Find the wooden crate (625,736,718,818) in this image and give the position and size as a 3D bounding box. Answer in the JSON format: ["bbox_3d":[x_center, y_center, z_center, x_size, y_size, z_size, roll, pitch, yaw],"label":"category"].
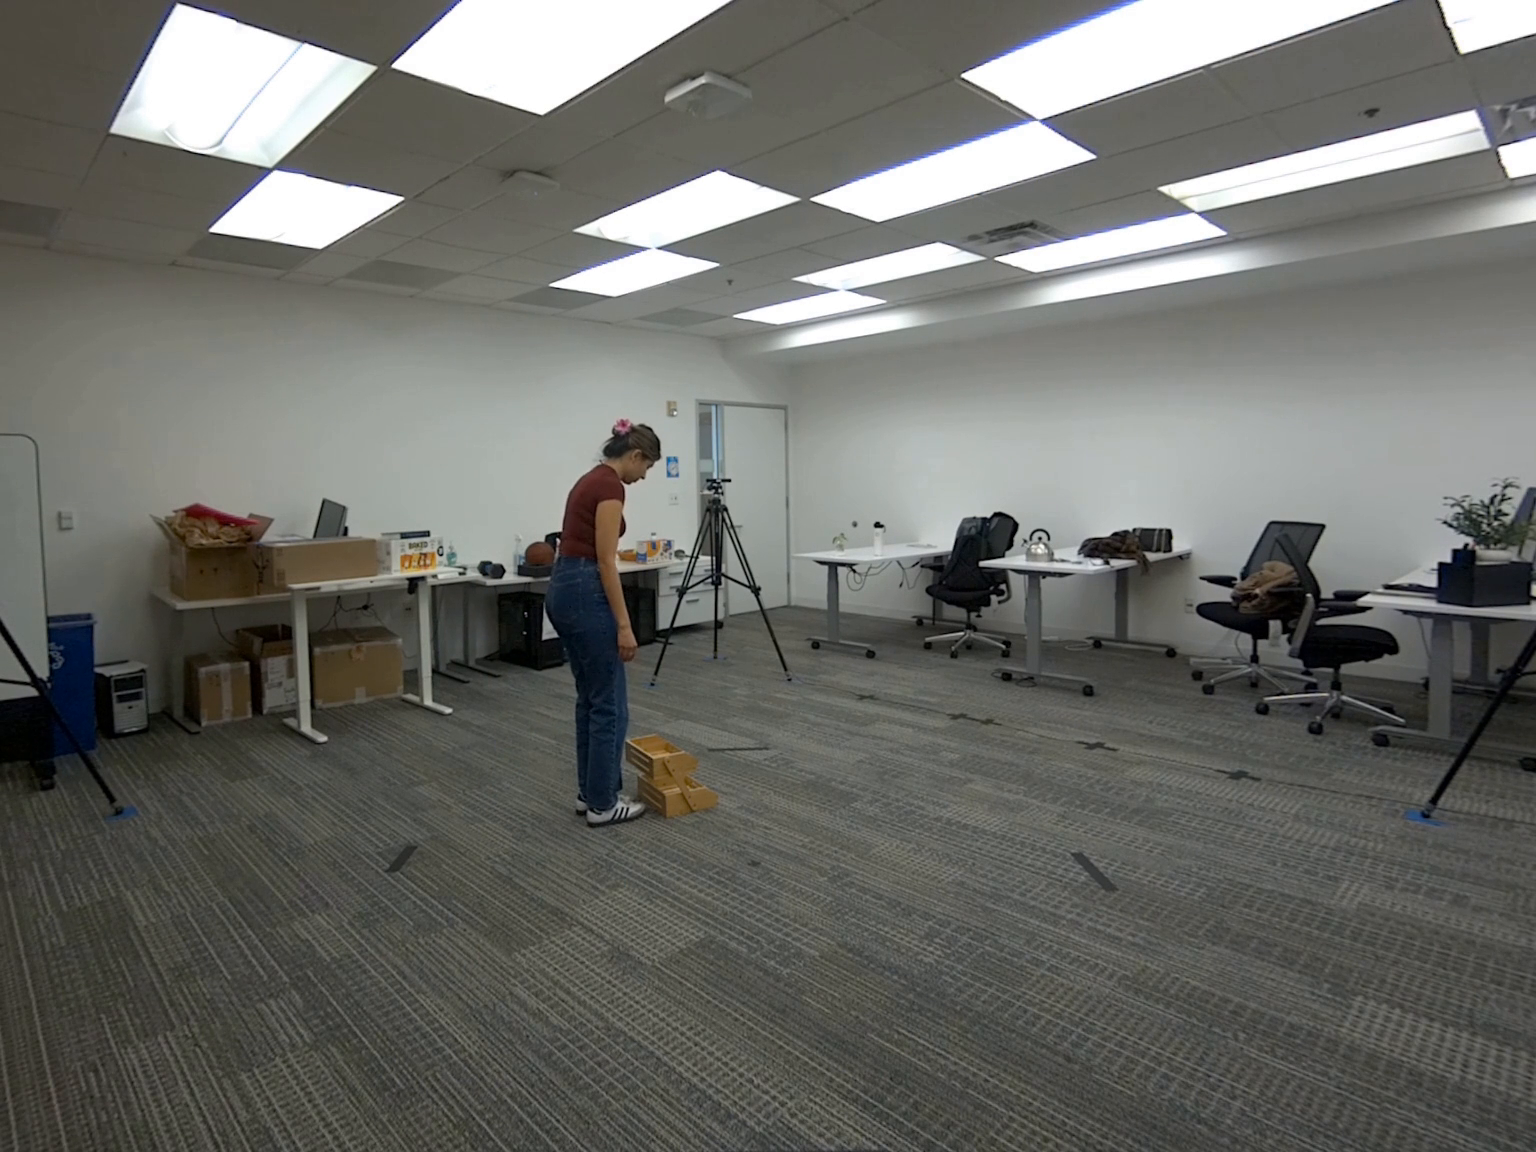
[{"bbox_3d":[-0.418,0.845,3.715,0.295,0.272,0.333,-5,6,-31],"label":"wooden crate"}]
